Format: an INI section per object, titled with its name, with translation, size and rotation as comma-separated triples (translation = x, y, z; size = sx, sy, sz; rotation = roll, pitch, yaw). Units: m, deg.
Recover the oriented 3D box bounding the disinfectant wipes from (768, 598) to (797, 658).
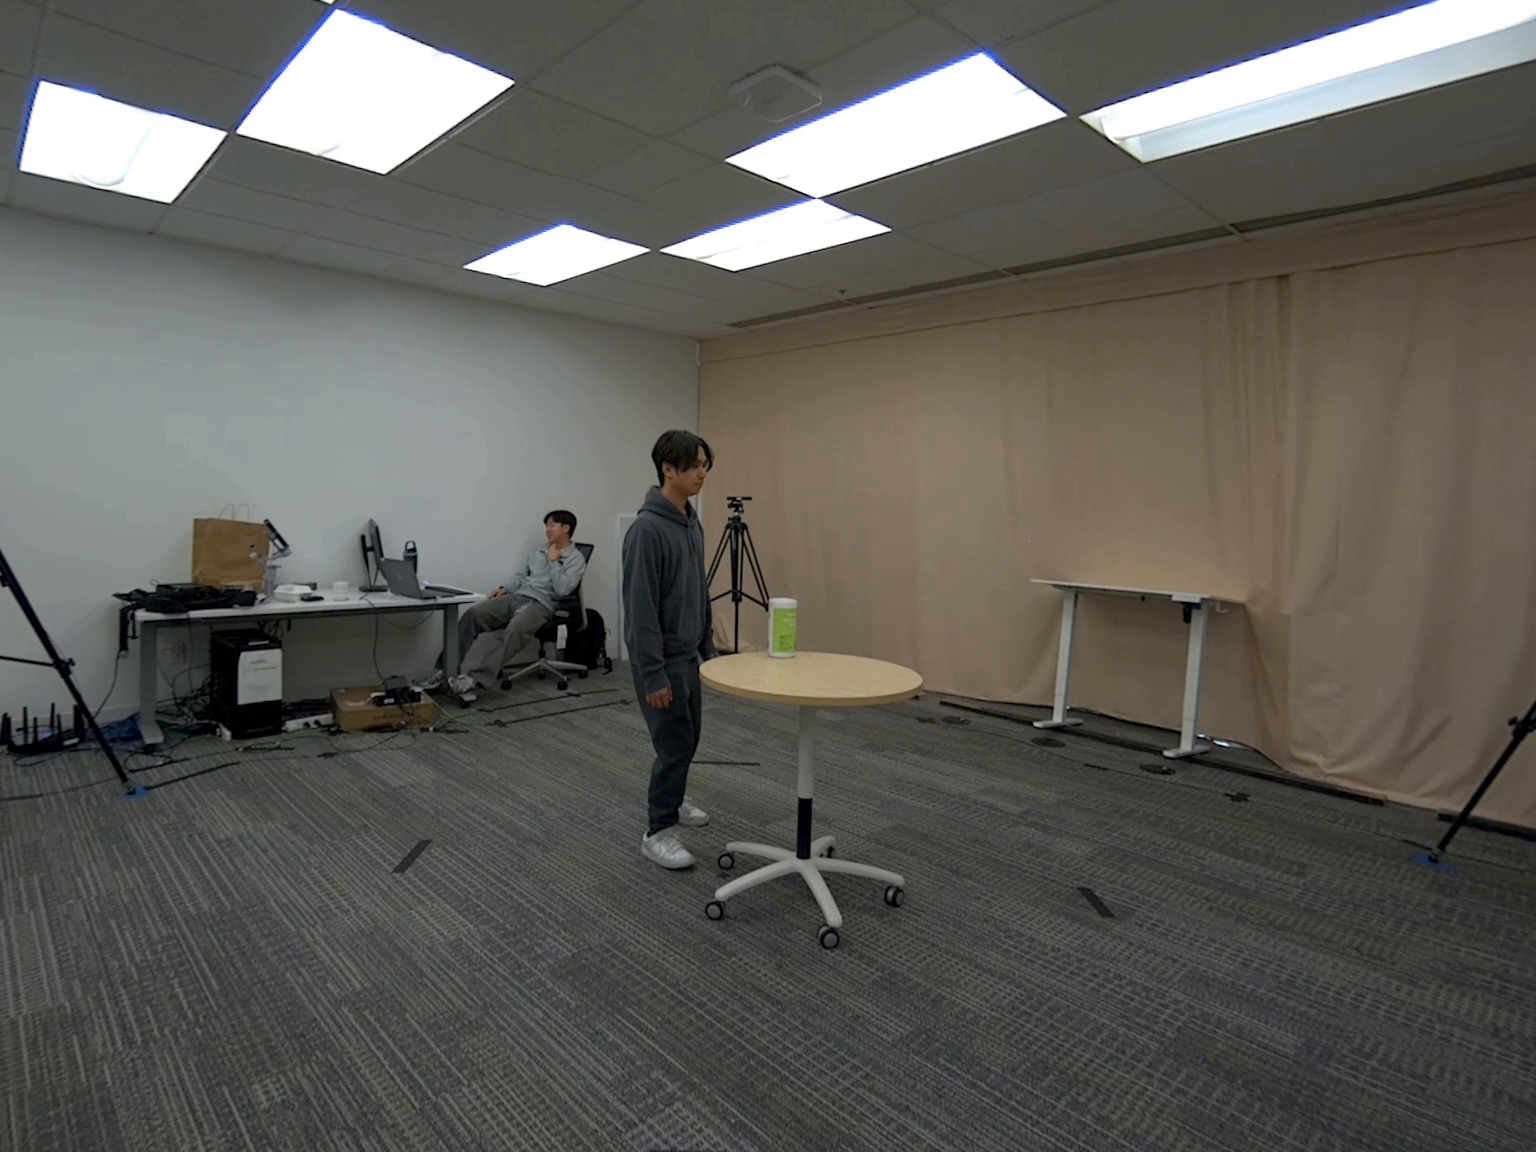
[disinfectant wipes]
translation = 0.040, 0.192, 3.200
size = 0.118, 0.217, 0.118
rotation = 4, 1, -1
